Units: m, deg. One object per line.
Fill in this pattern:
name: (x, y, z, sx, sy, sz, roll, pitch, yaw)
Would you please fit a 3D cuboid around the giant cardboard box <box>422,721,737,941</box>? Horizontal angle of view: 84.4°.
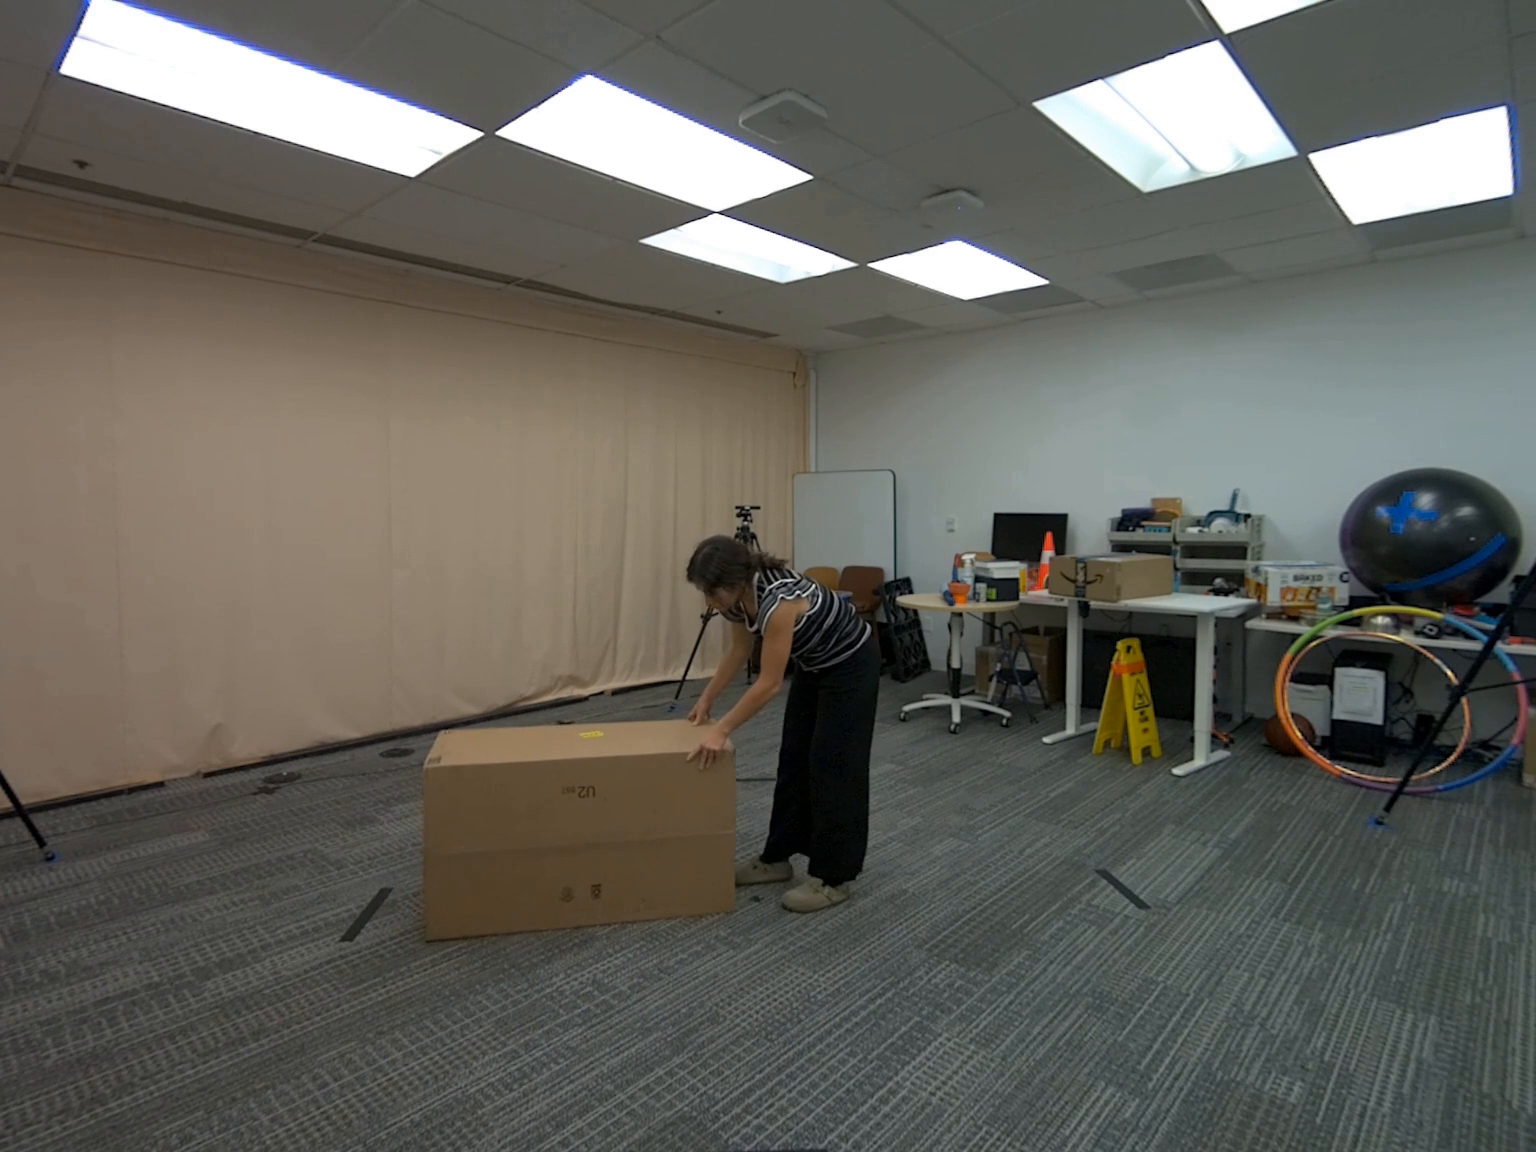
giant cardboard box: (-0.660, 0.859, 2.982, 1.014, 0.576, 0.432, -1, 3, -11)
